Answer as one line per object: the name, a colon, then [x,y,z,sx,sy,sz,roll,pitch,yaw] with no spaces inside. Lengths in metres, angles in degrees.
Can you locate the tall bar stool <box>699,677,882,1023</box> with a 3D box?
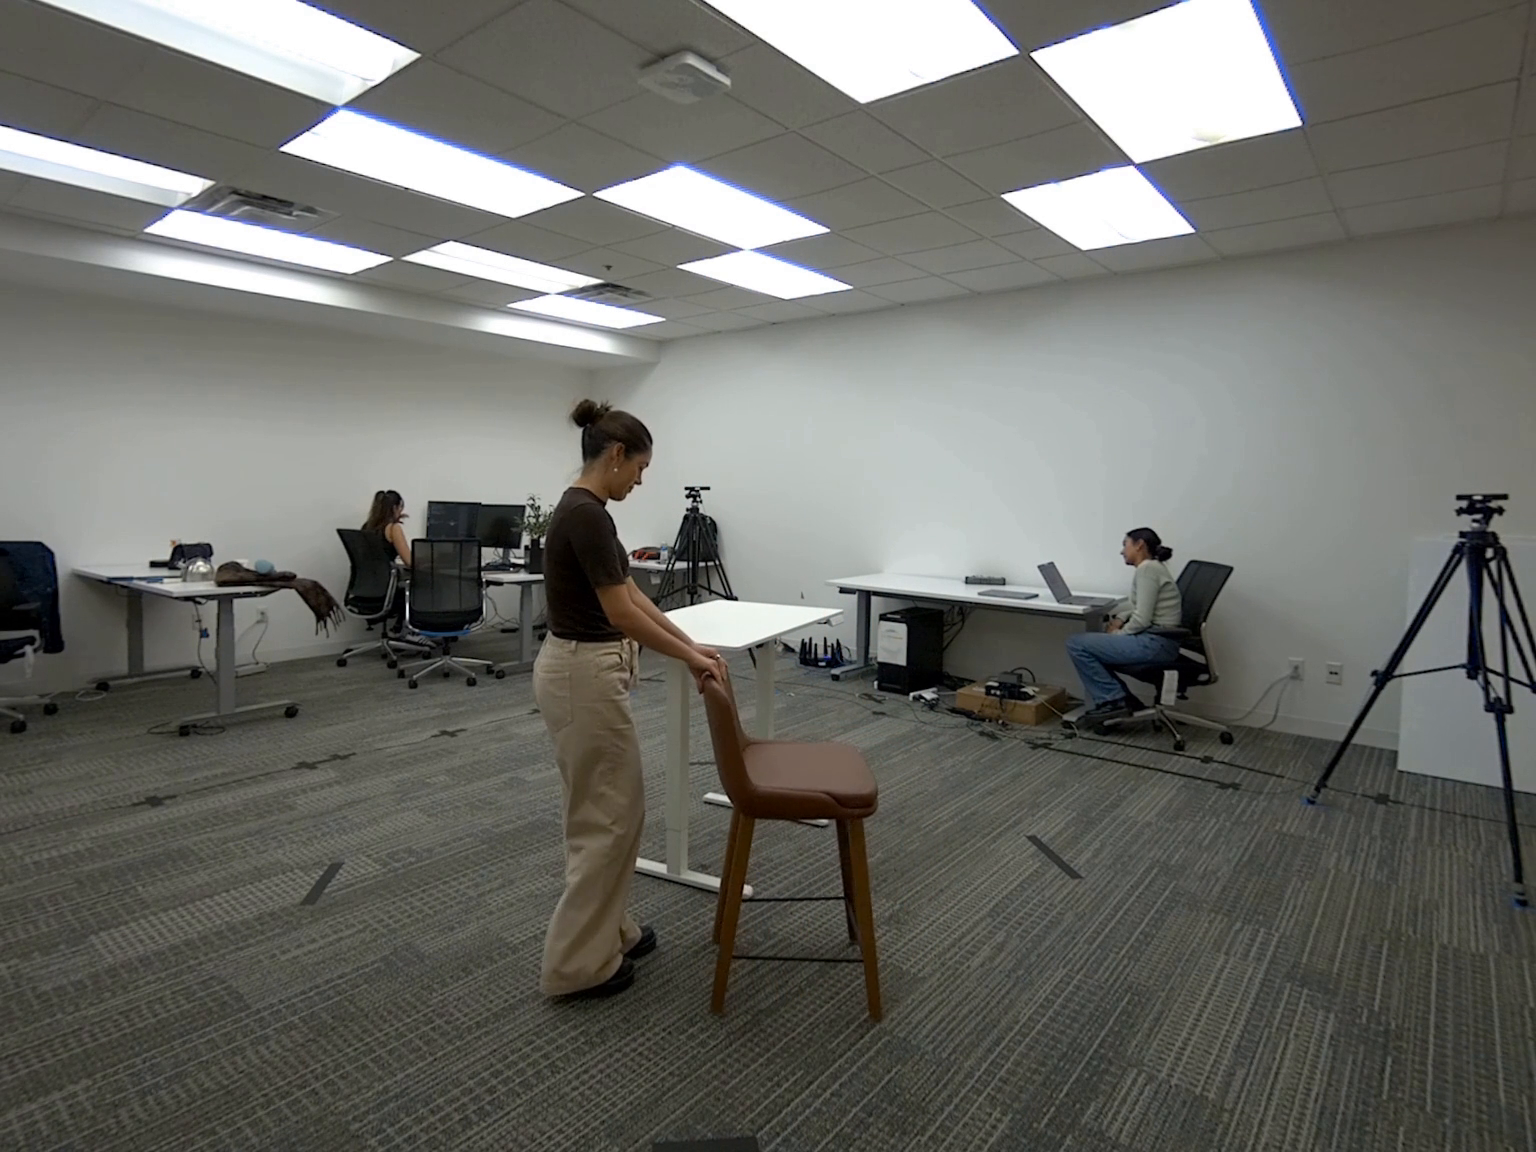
tall bar stool: [0.055,0.706,2.399,0.467,0.886,0.459,-1,4,-2]
